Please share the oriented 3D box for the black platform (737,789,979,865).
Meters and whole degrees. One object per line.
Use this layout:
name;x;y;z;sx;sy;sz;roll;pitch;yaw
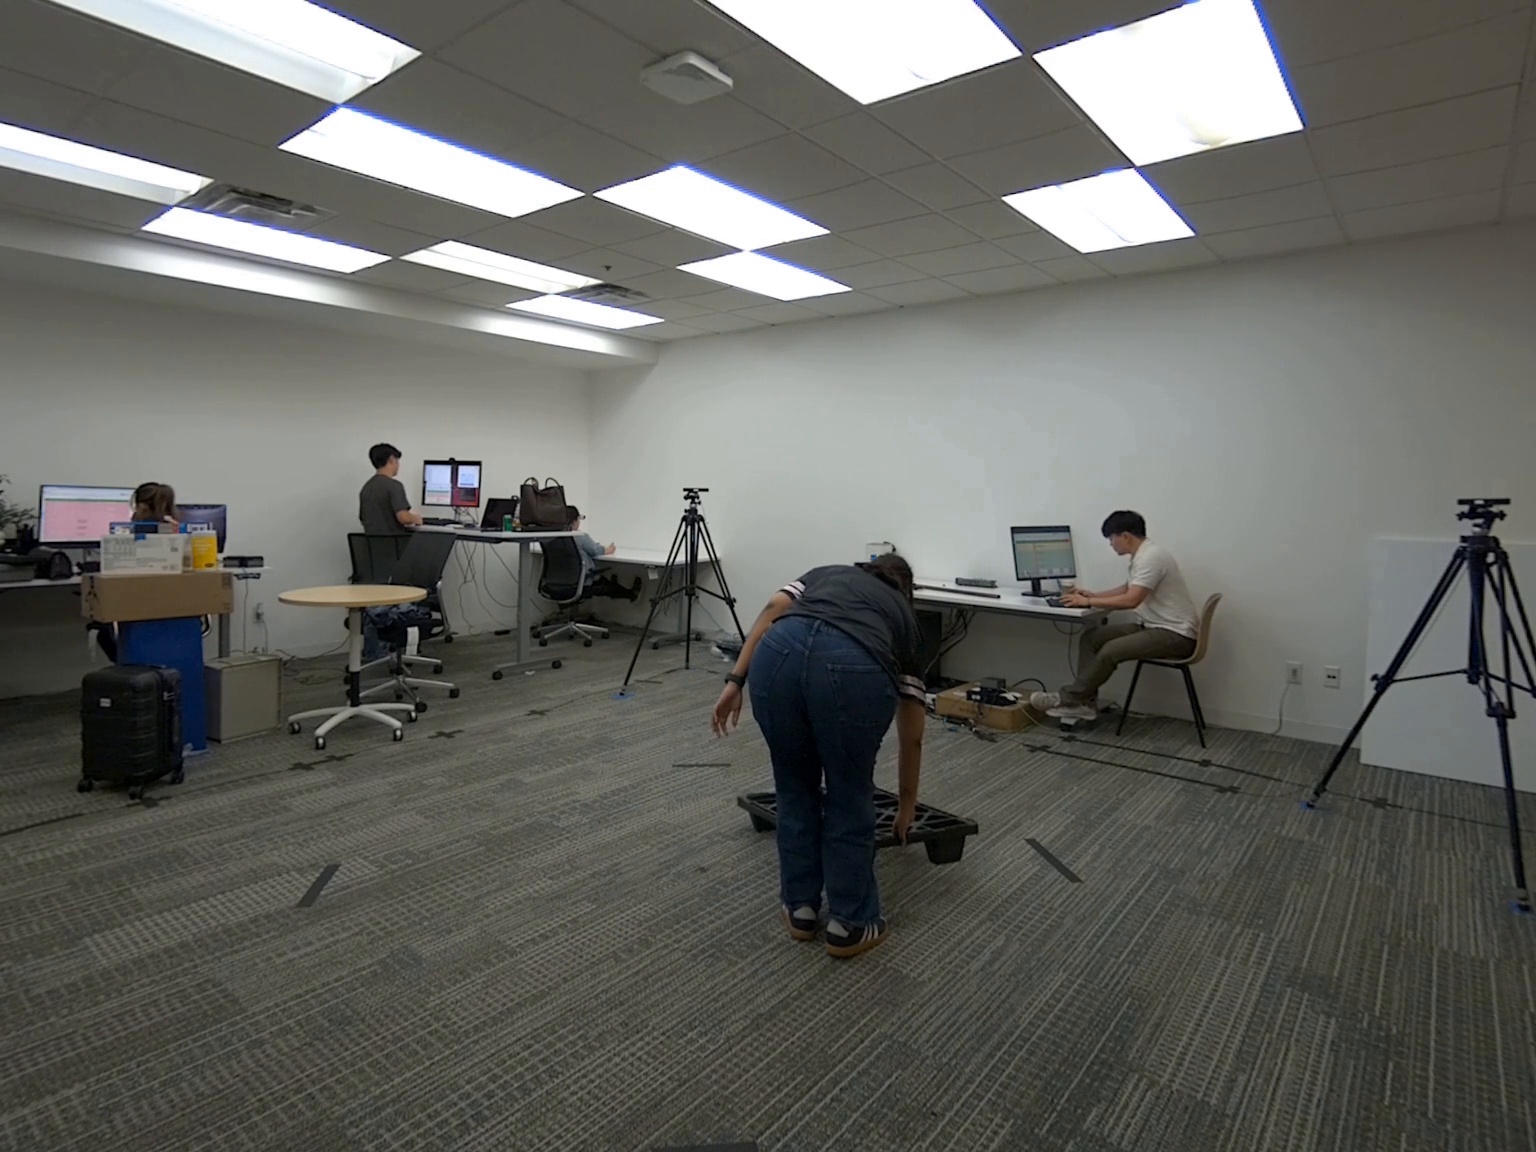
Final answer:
black platform;0.305;0.950;3.255;0.591;0.144;0.822;-1;-1;-24
